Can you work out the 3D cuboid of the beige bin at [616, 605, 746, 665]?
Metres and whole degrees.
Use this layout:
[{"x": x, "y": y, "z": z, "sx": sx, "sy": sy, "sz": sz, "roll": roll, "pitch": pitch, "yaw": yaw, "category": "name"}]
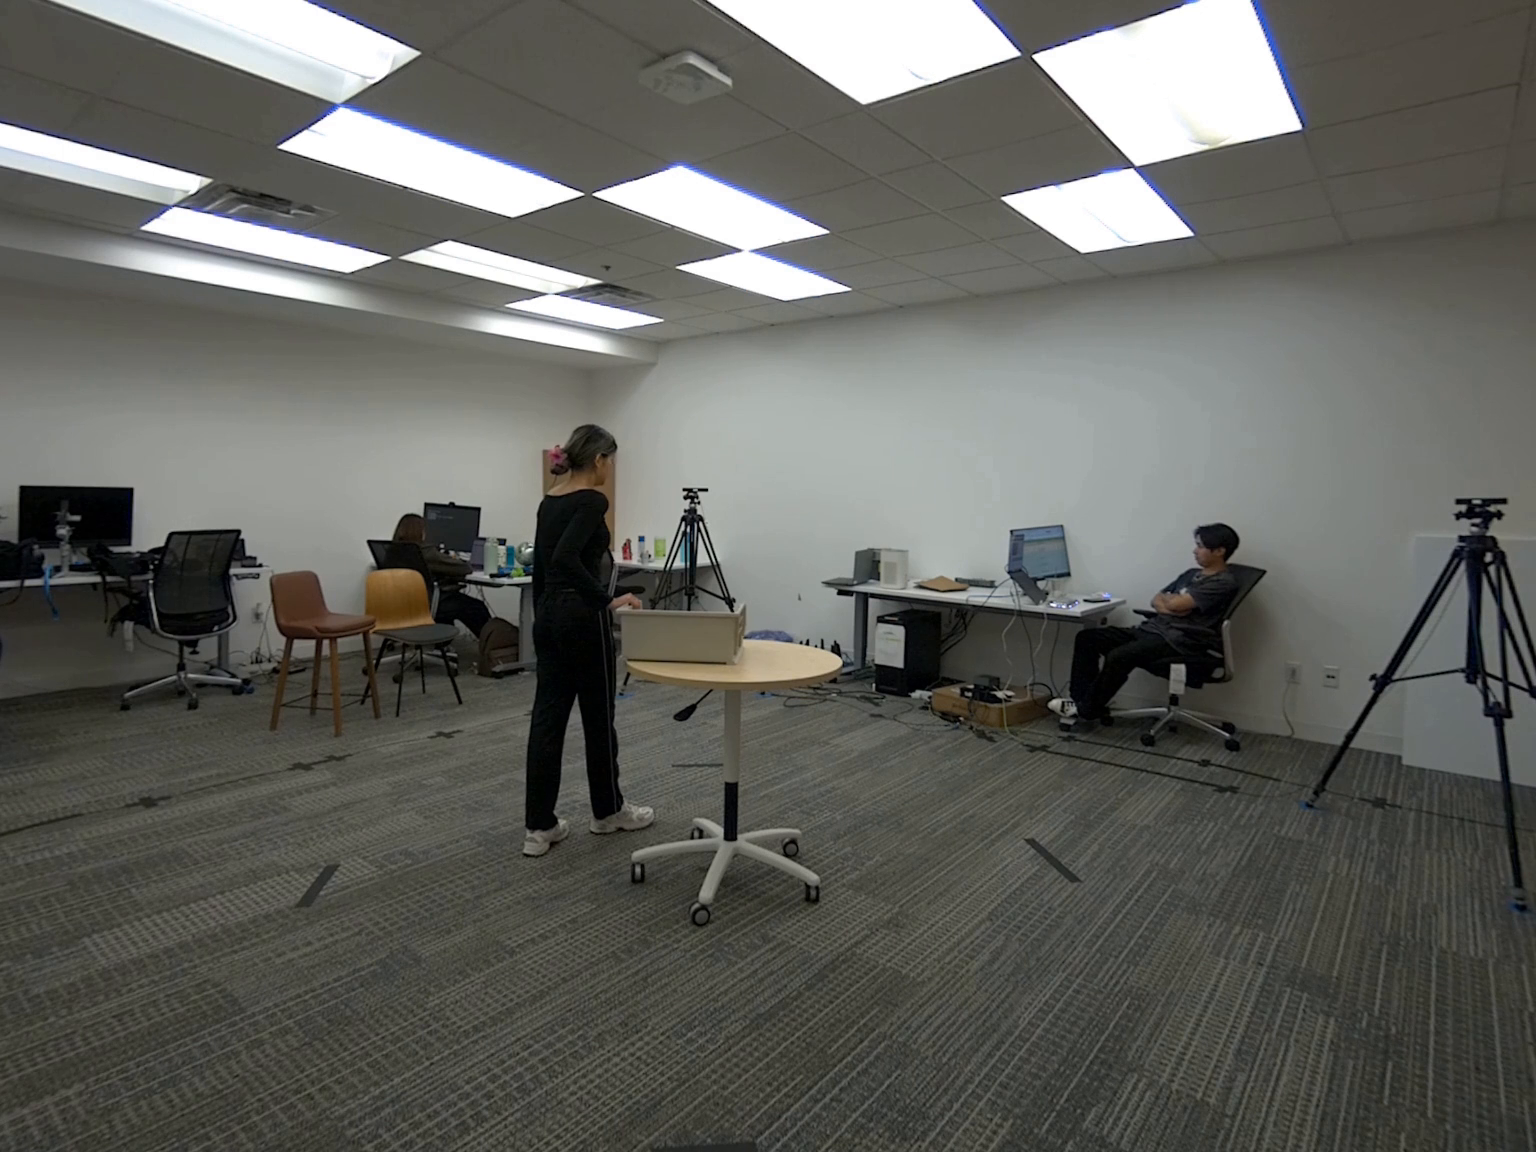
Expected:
[{"x": -0.317, "y": 0.194, "z": 3.078, "sx": 0.424, "sy": 0.188, "sz": 0.377, "roll": 1, "pitch": 5, "yaw": 3, "category": "beige bin"}]
